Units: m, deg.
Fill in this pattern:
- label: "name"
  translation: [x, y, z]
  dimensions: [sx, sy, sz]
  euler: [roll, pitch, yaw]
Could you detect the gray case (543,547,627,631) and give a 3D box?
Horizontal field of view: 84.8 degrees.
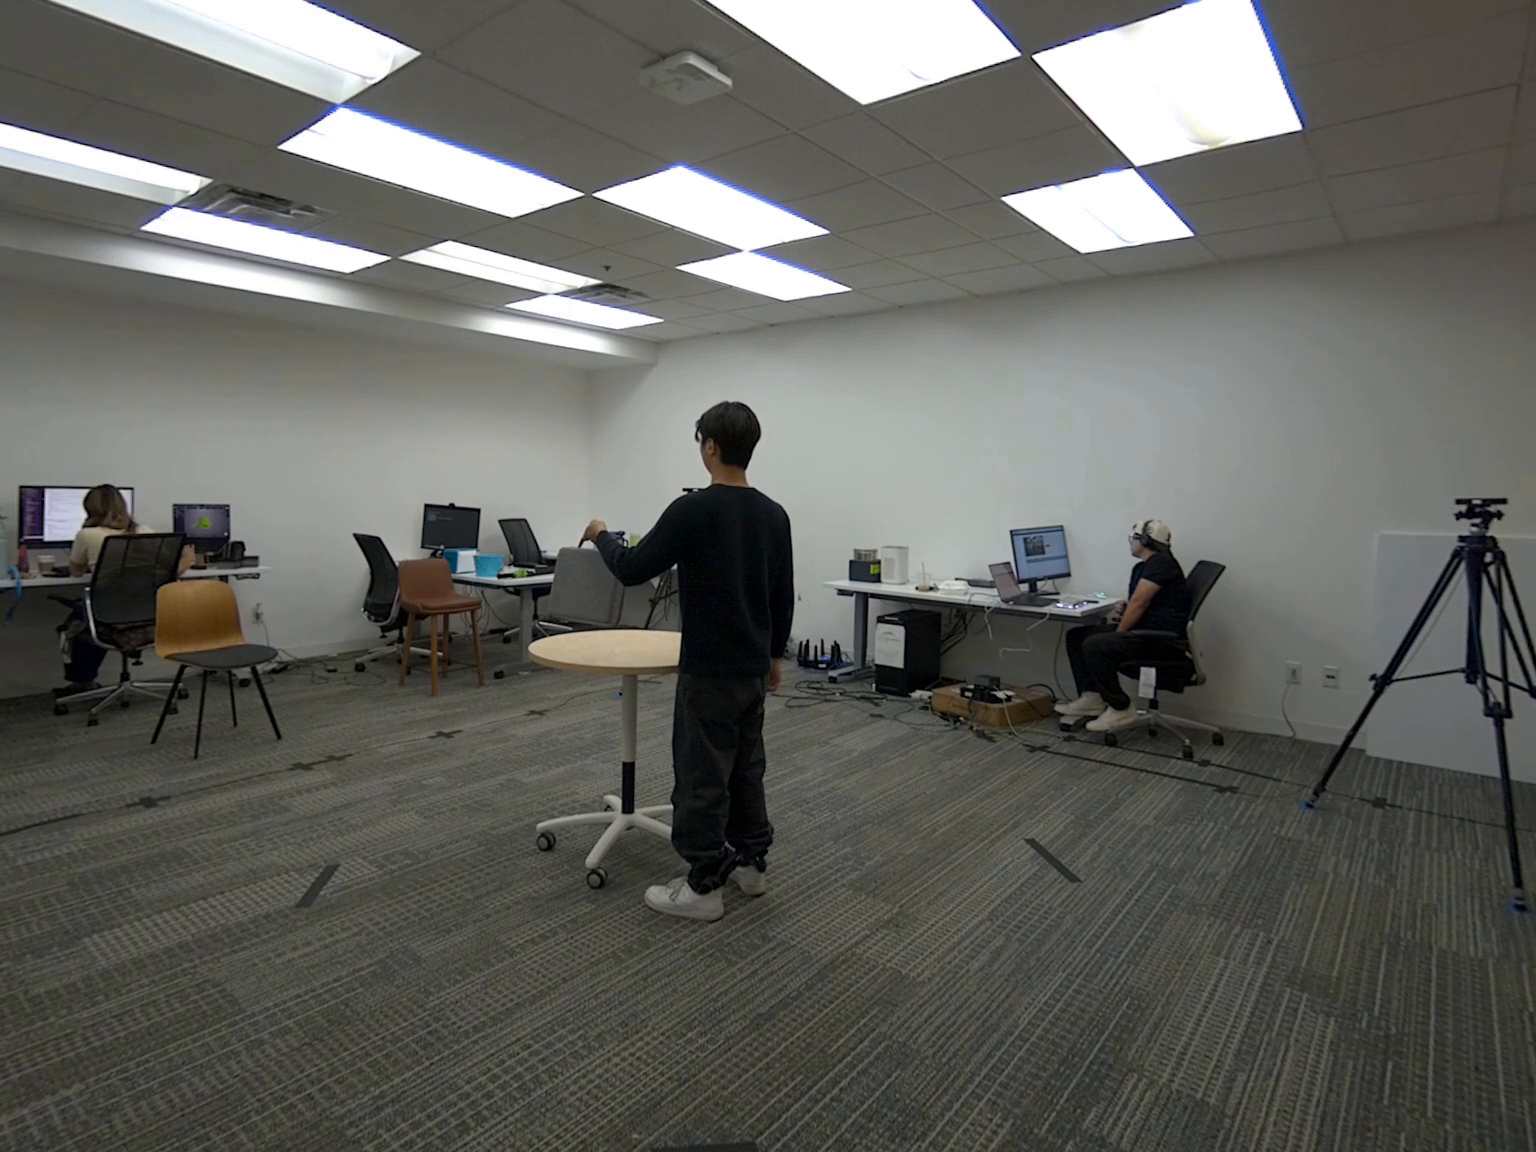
- label: "gray case"
  translation: [-0.640, 0.036, 2.947]
  dimensions: [0.262, 0.262, 0.101]
  euler: [6, -8, 18]
